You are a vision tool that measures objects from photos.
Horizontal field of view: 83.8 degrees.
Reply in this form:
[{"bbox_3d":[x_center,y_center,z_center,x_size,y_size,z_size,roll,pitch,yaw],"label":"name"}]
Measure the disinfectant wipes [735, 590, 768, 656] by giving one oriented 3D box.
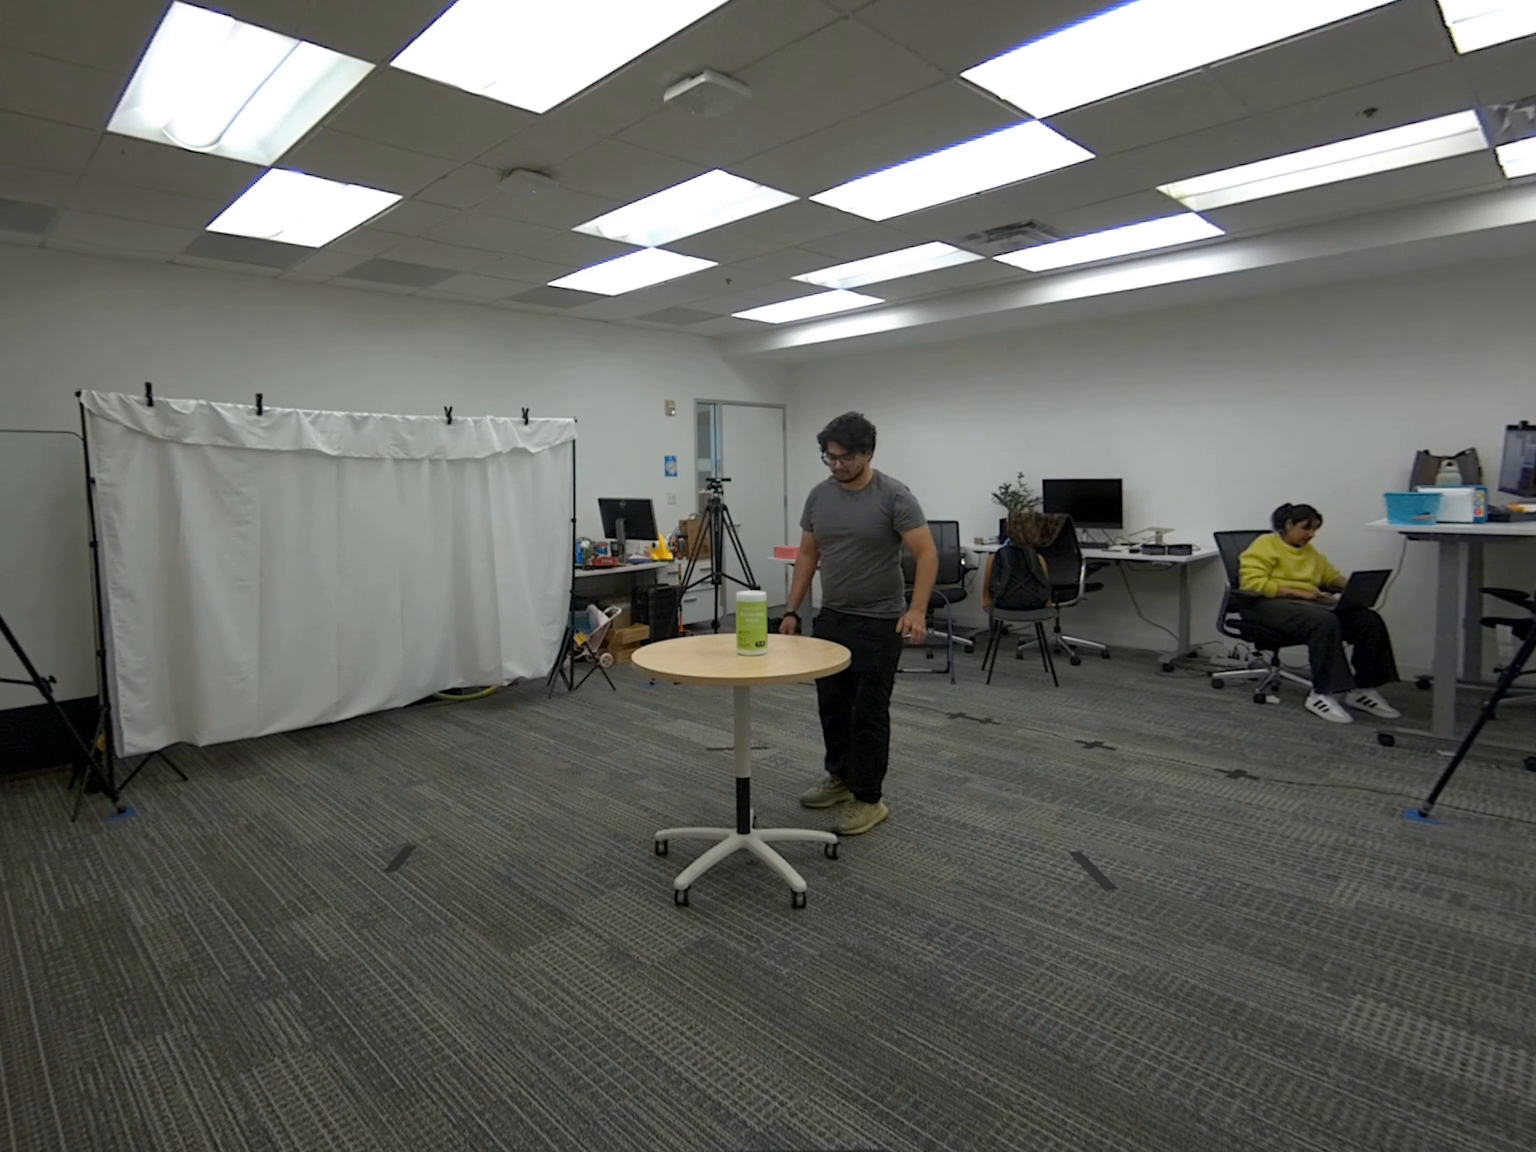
[{"bbox_3d":[-0.059,0.159,2.988,0.118,0.217,0.118,-1,1,-2],"label":"disinfectant wipes"}]
